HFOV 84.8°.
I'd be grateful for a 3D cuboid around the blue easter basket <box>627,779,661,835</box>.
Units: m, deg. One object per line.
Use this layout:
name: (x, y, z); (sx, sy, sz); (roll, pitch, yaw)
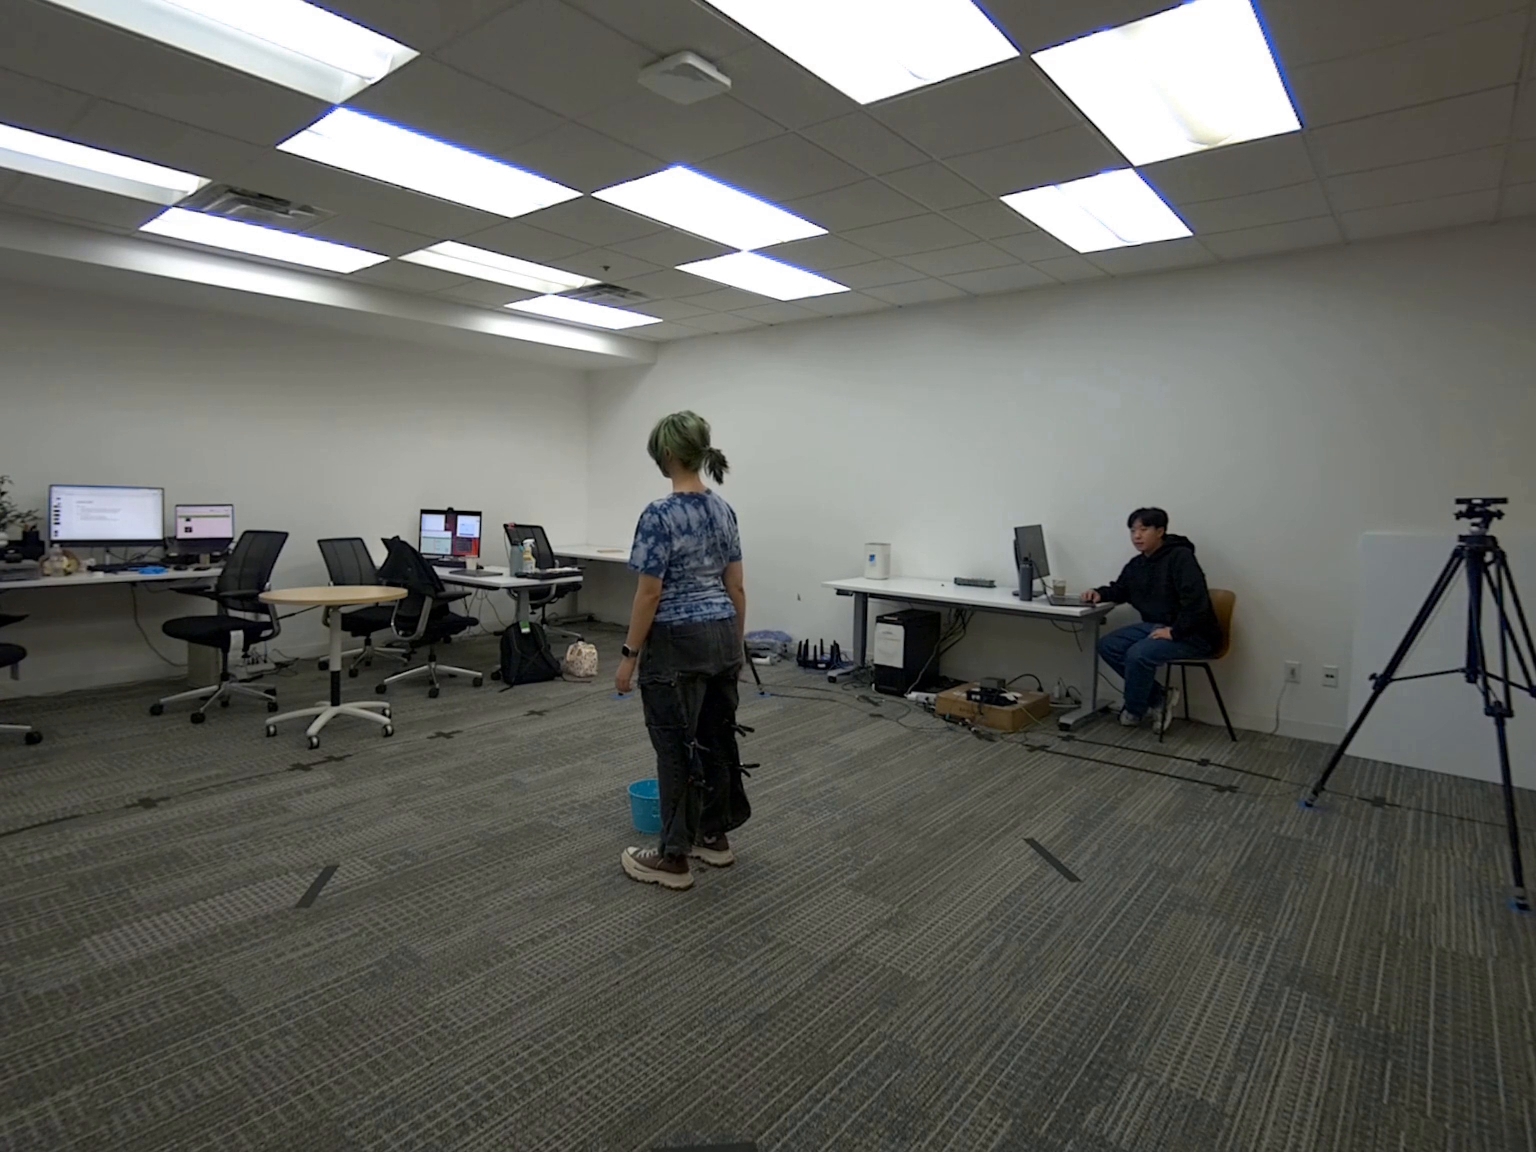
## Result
blue easter basket: (-0.475, 0.946, 3.523); (0.243, 0.155, 0.245); (1, 5, -2)
